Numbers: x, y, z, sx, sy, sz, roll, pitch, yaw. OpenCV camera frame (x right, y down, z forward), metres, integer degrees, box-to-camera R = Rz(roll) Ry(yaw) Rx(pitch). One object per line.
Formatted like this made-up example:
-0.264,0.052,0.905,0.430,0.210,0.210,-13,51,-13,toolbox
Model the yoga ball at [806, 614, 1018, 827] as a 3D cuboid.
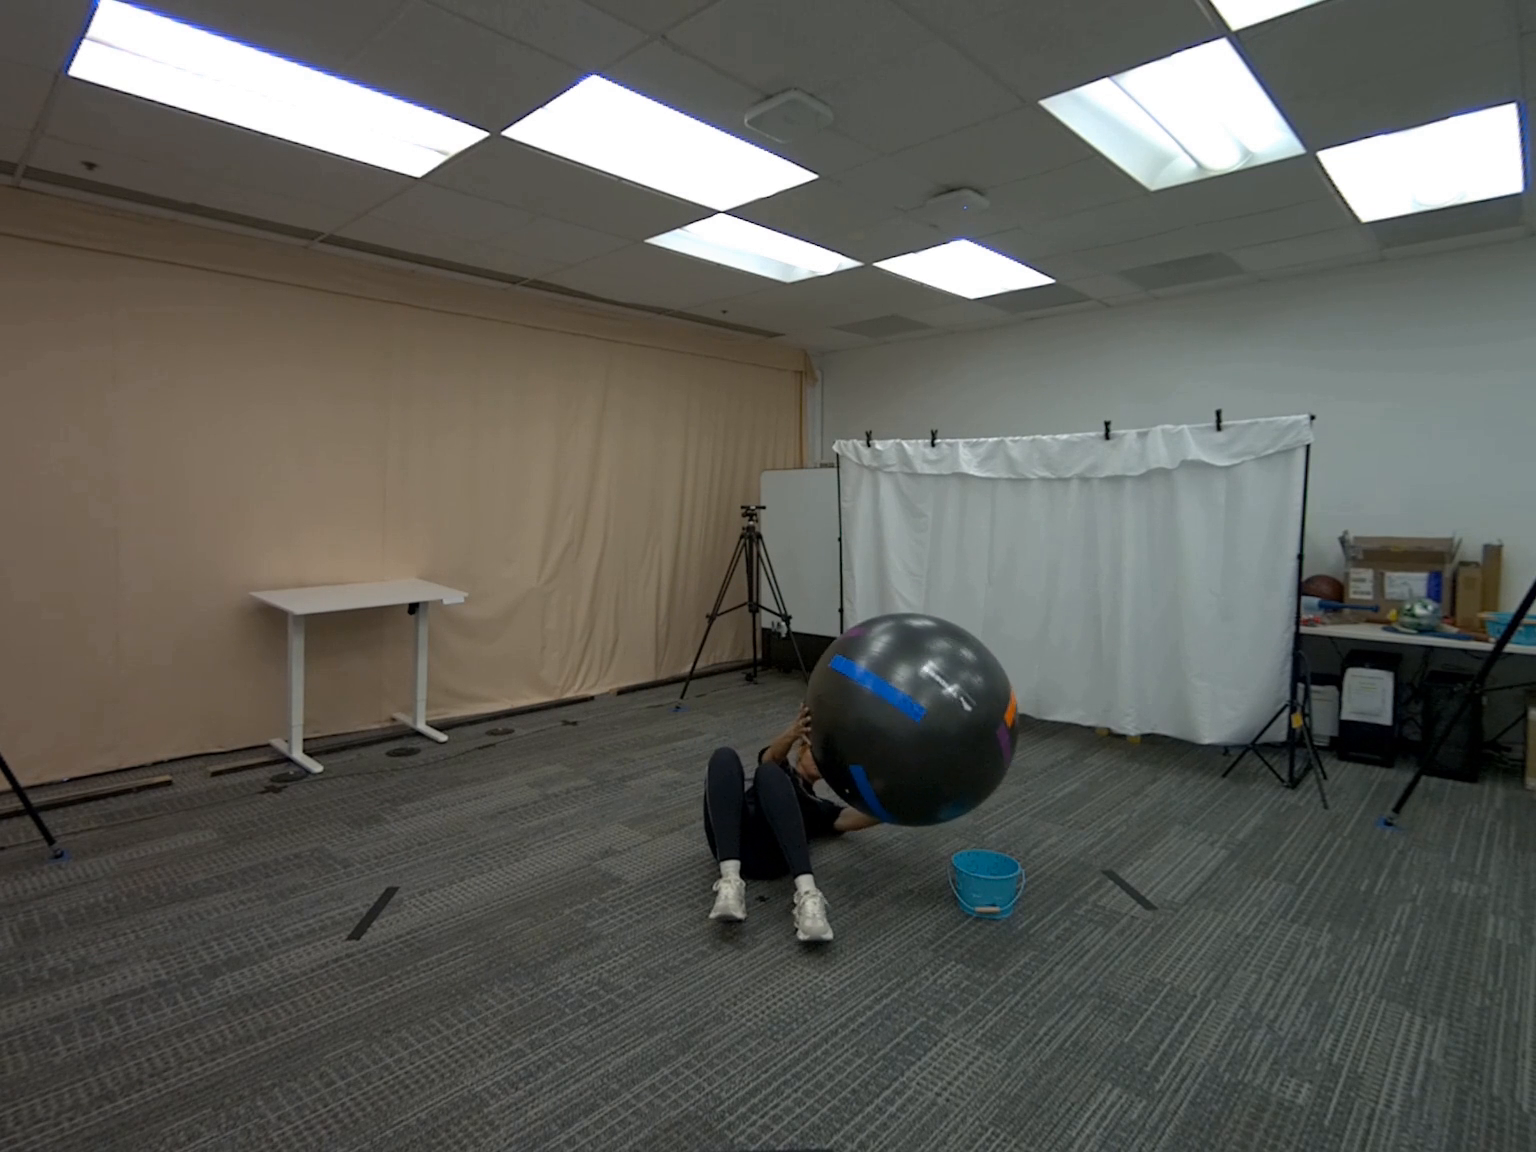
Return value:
0.519,0.507,3.063,0.757,0.756,0.760,0,4,-2,yoga ball
